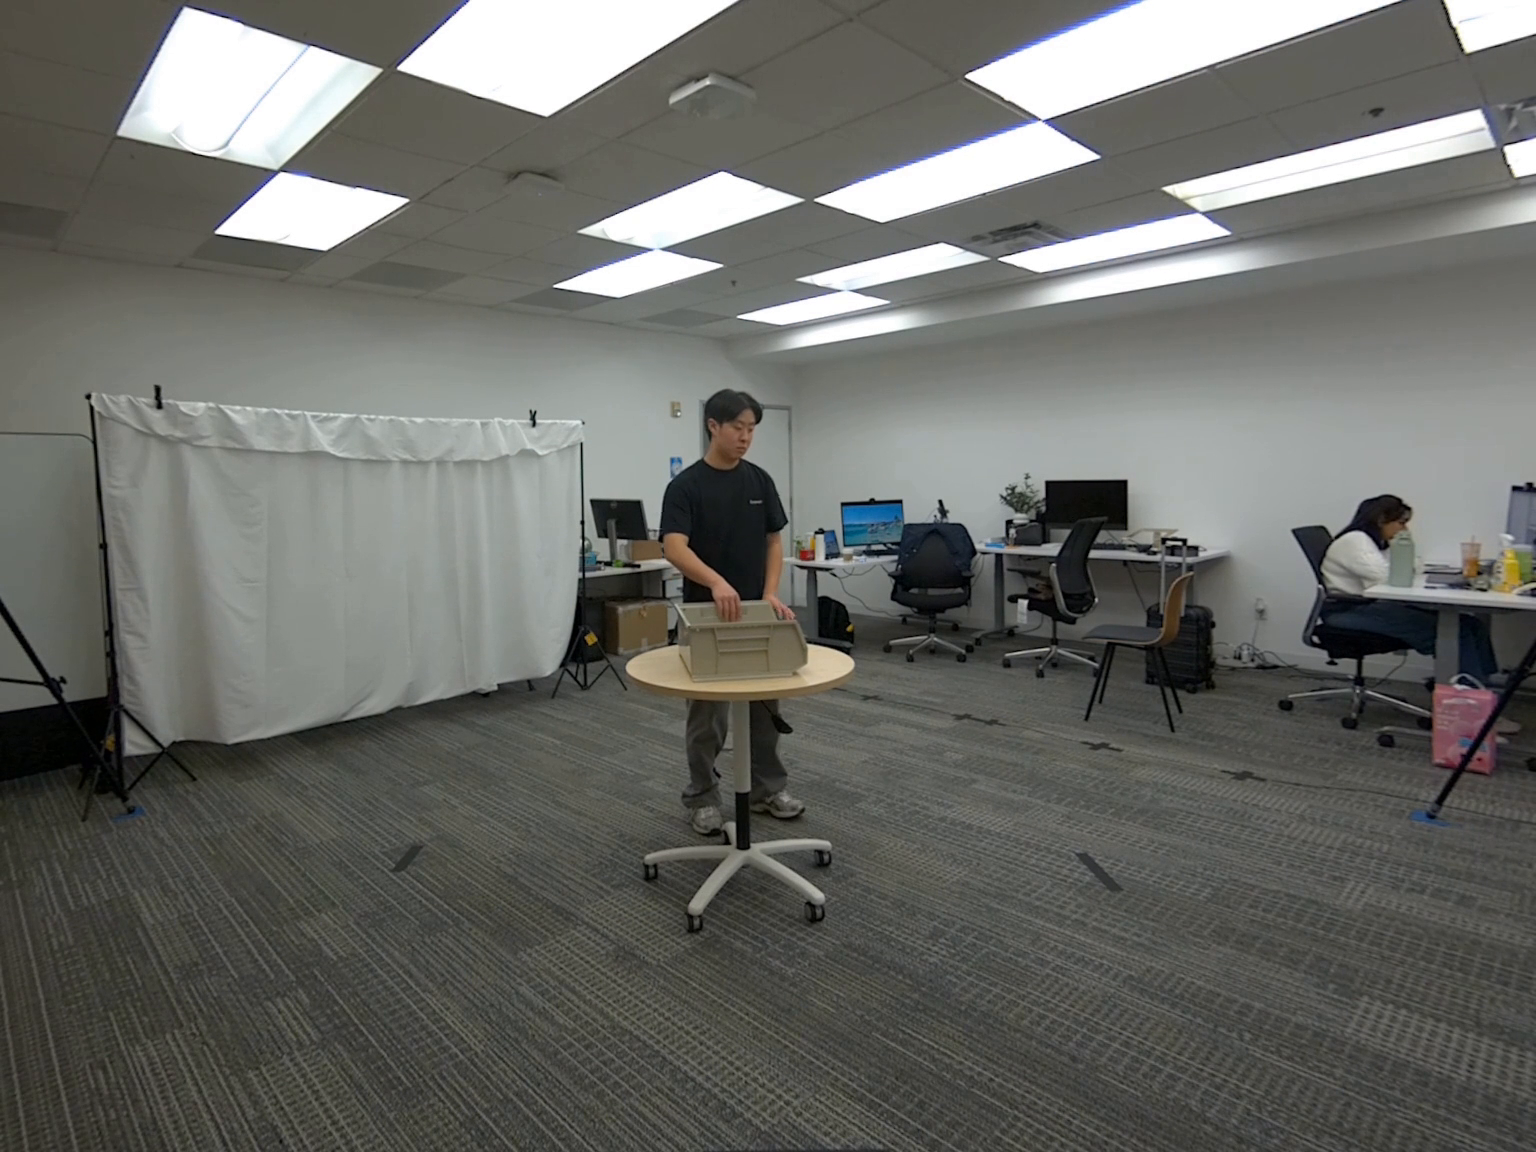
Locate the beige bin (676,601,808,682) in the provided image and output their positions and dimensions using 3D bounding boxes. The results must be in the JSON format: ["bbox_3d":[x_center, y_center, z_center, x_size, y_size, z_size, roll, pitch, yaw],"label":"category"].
[{"bbox_3d":[-0.101,0.209,2.839,0.374,0.188,0.428,-3,7,-10],"label":"beige bin"}]
